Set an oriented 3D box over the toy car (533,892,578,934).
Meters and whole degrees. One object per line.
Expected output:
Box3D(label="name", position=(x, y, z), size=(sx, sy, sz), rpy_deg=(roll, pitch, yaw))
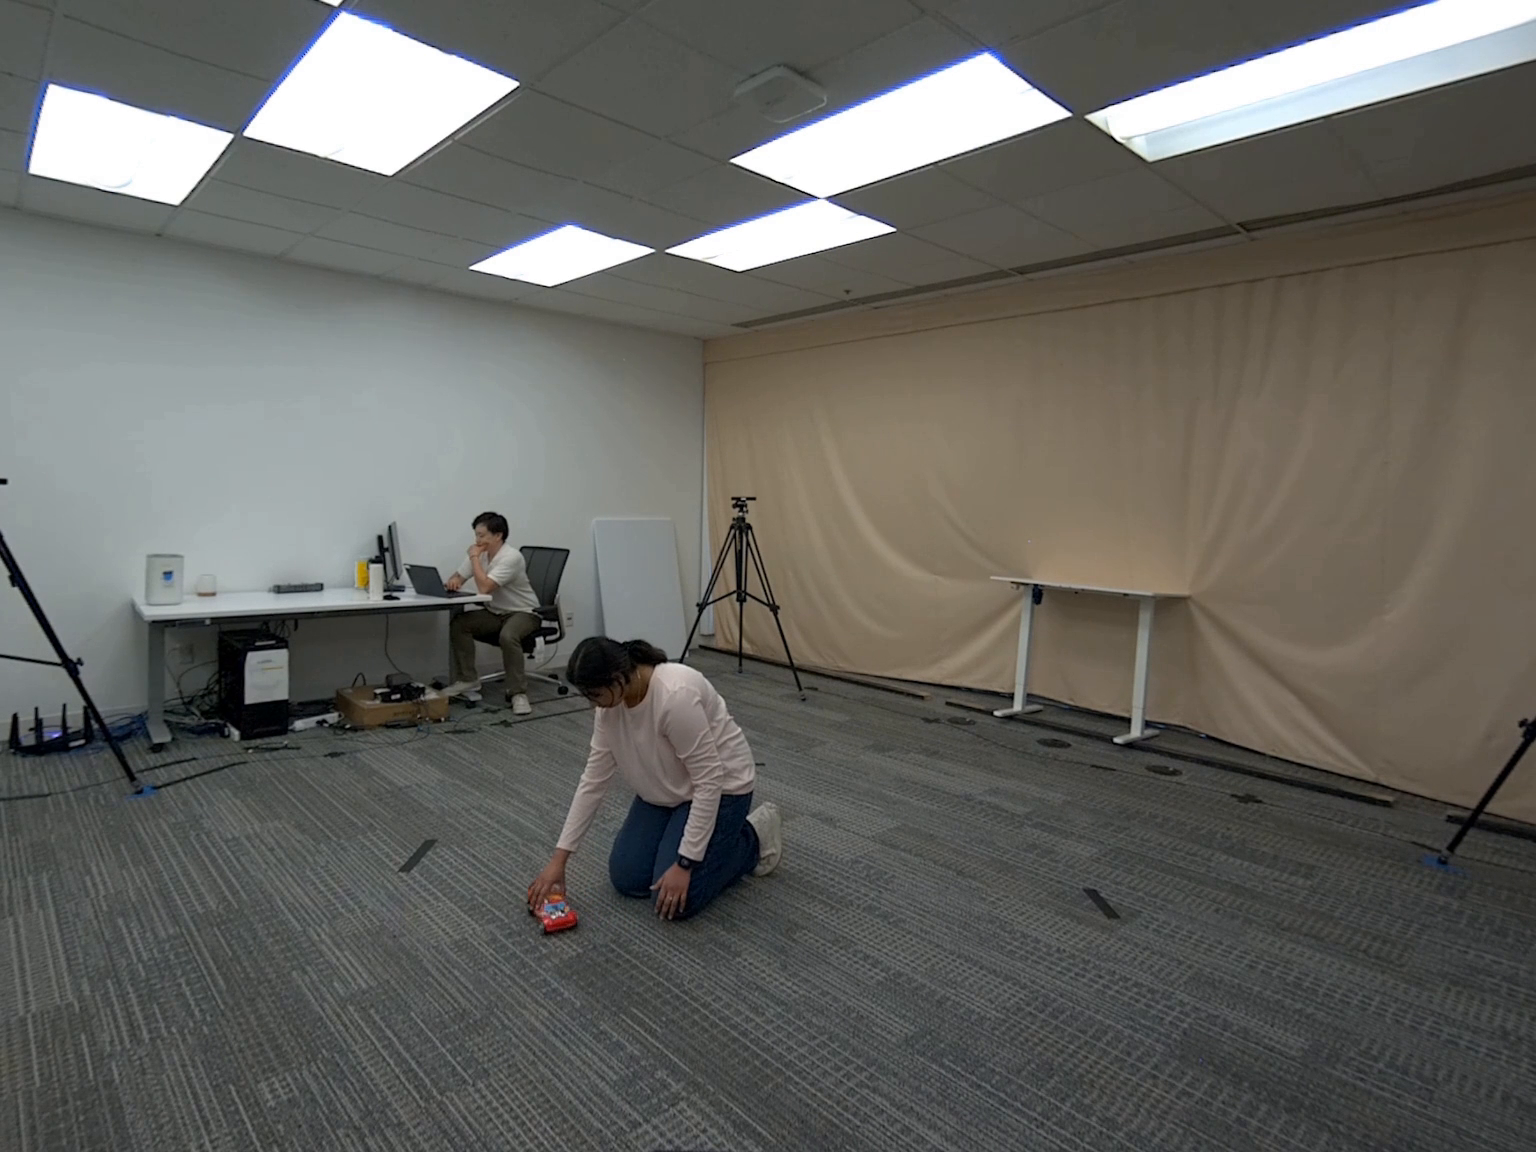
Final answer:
Box3D(label="toy car", position=(-0.718, 1.090, 2.773), size=(0.128, 0.082, 0.262), rpy_deg=(-4, 18, -28))
